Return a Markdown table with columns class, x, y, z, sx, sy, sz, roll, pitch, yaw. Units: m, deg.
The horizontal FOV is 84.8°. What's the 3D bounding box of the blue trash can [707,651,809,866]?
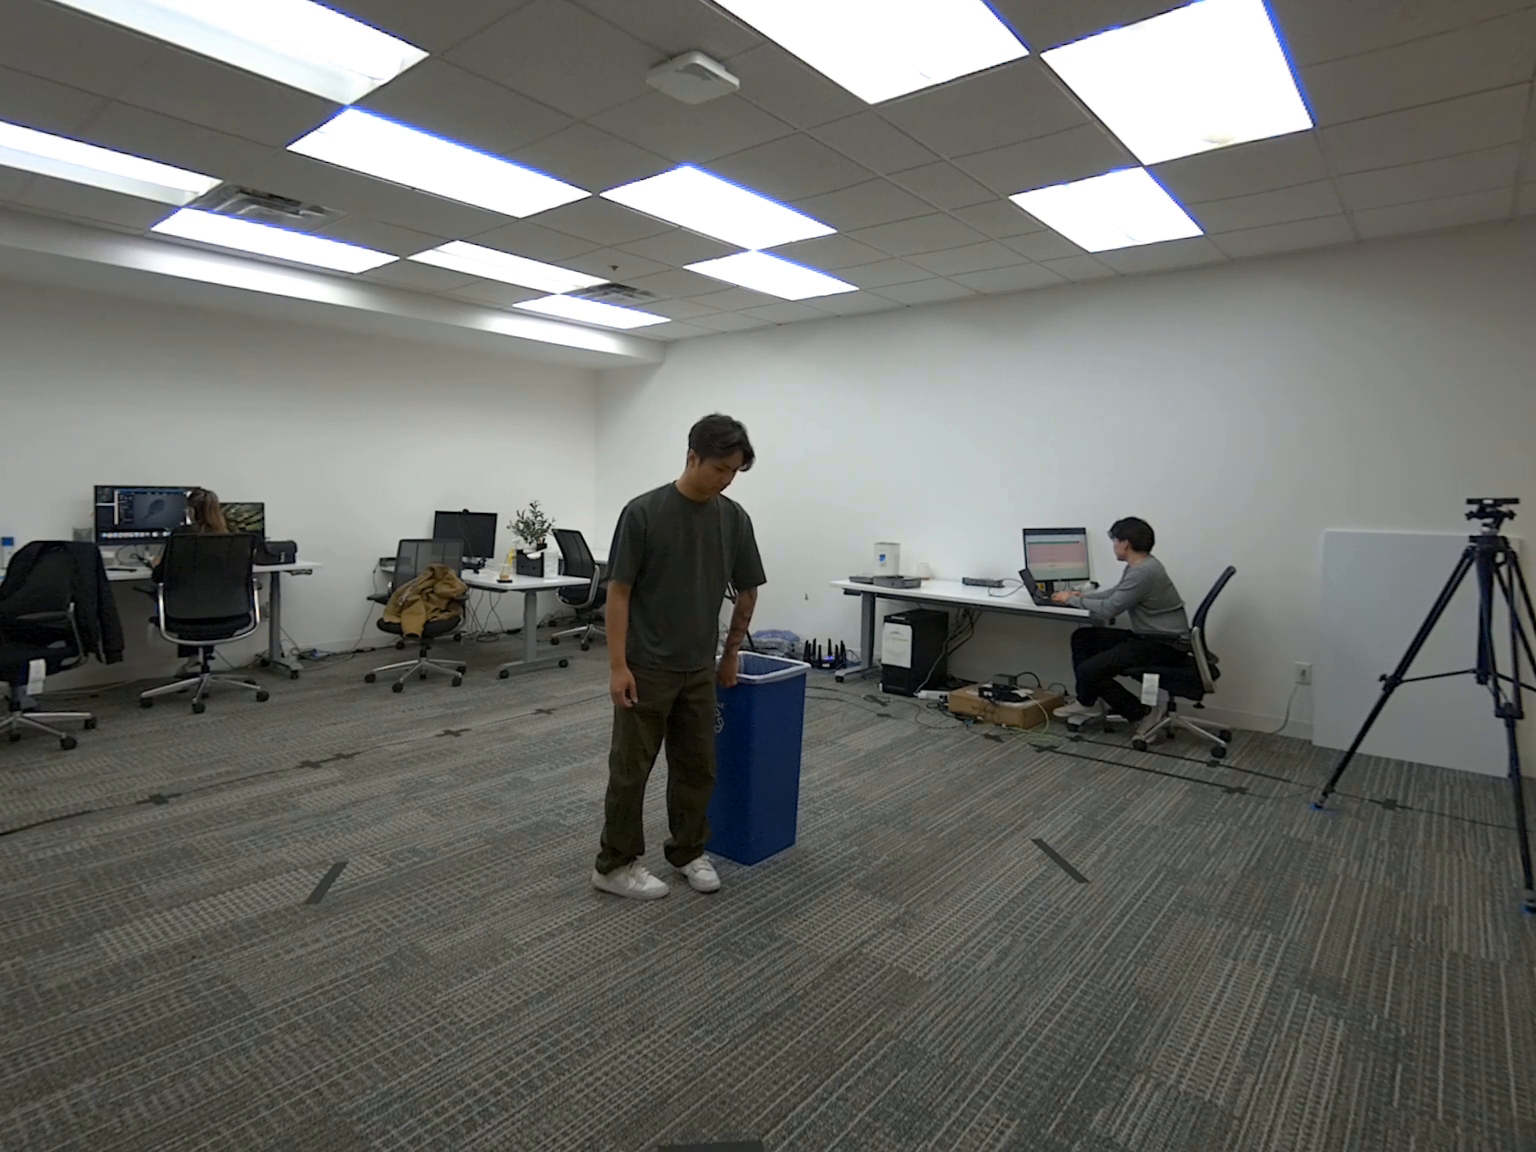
| class | x | y | z | sx | sy | sz | roll | pitch | yaw |
| --- | --- | --- | --- | --- | --- | --- | --- | --- | --- |
| blue trash can | -0.085 | 0.690 | 3.322 | 0.386 | 0.712 | 0.367 | 3 | 4 | 38 |
